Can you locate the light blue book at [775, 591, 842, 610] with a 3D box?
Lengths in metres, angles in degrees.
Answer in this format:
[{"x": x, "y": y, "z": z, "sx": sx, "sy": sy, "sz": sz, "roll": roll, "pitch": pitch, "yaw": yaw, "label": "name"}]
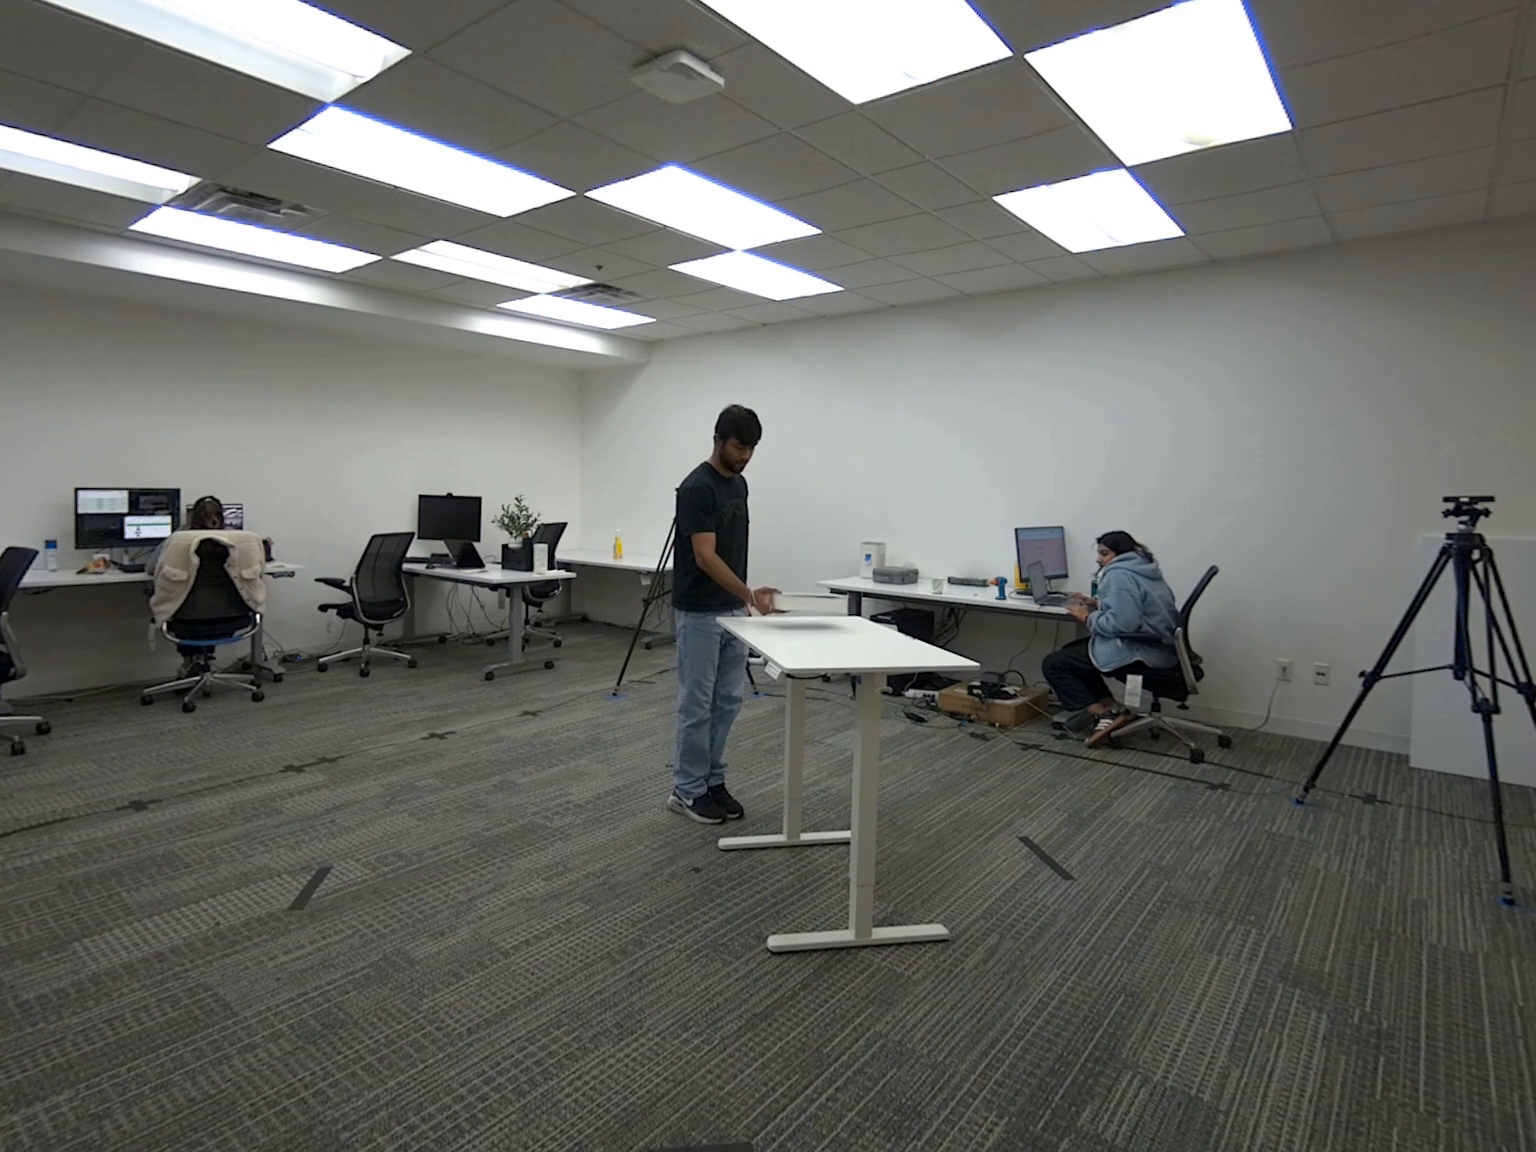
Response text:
[{"x": 0.133, "y": 0.091, "z": 3.200, "sx": 0.257, "sy": 0.059, "sz": 0.195, "roll": 3, "pitch": 3, "yaw": -15, "label": "light blue book"}]
